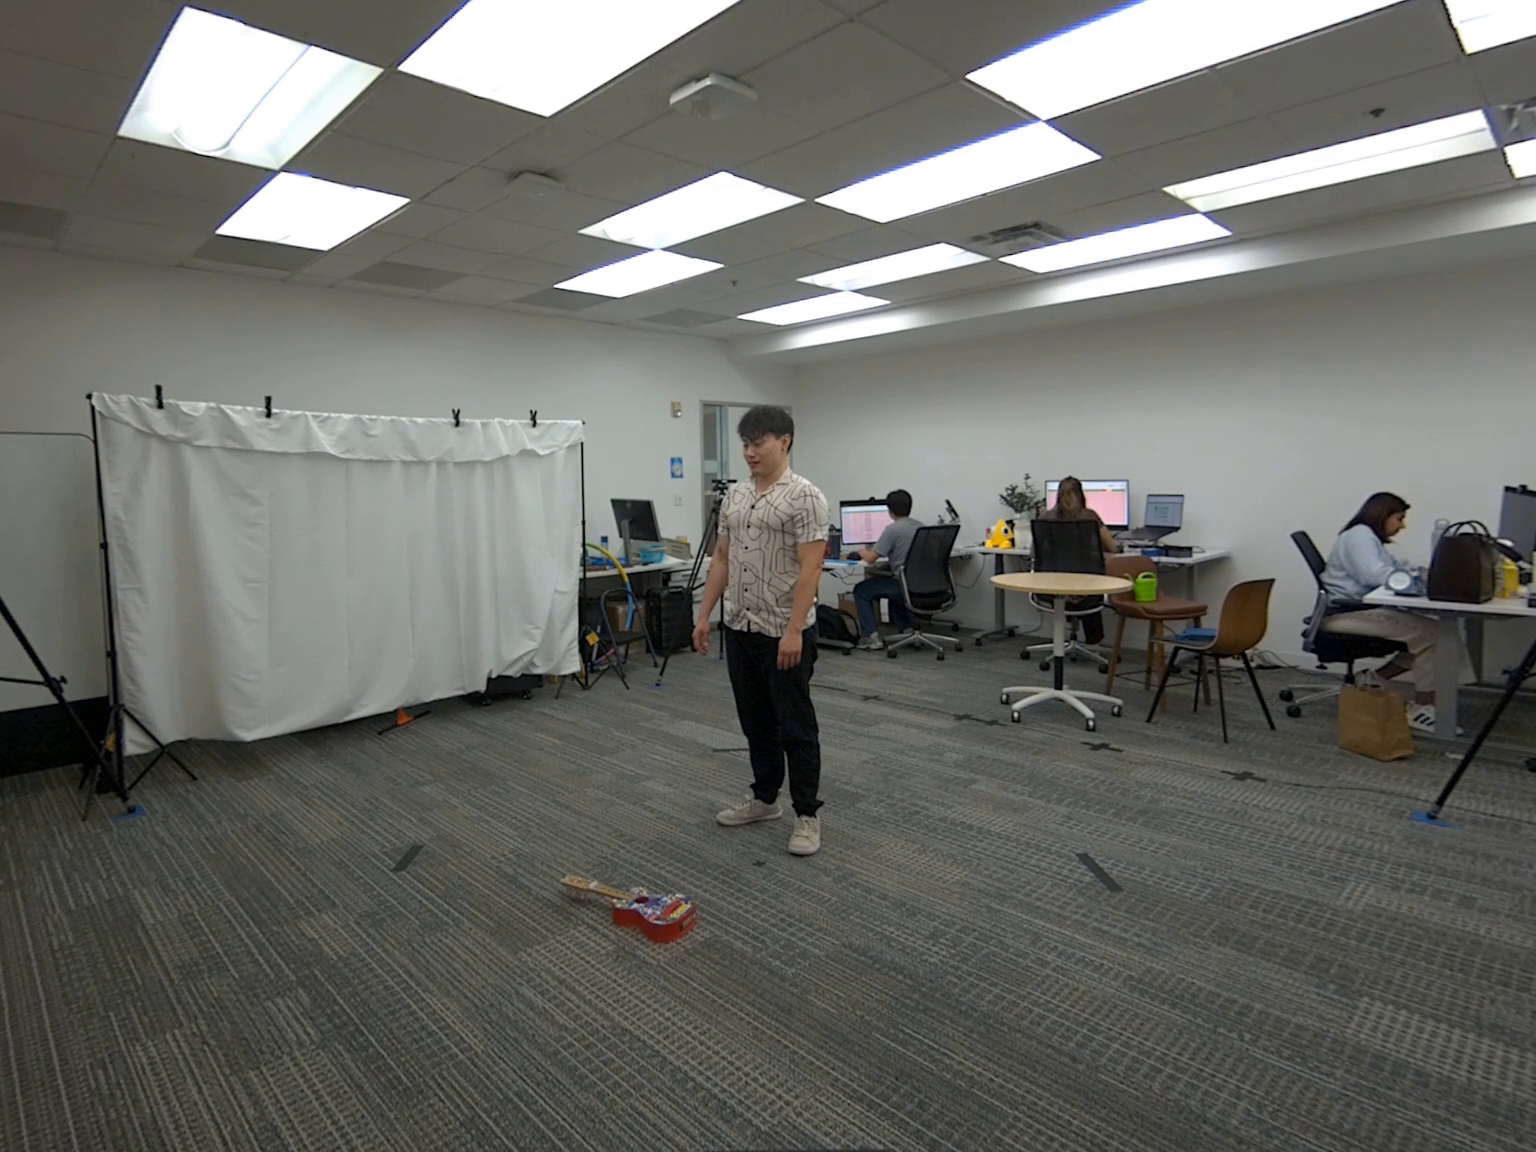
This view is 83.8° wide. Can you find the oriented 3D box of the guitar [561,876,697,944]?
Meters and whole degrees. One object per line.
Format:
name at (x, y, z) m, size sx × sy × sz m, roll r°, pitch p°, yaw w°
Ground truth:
guitar at (-0.450, 1.060, 2.793) m, size 0.513 × 0.070 × 0.188 m, roll 5°, pitch 9°, yaw 37°
